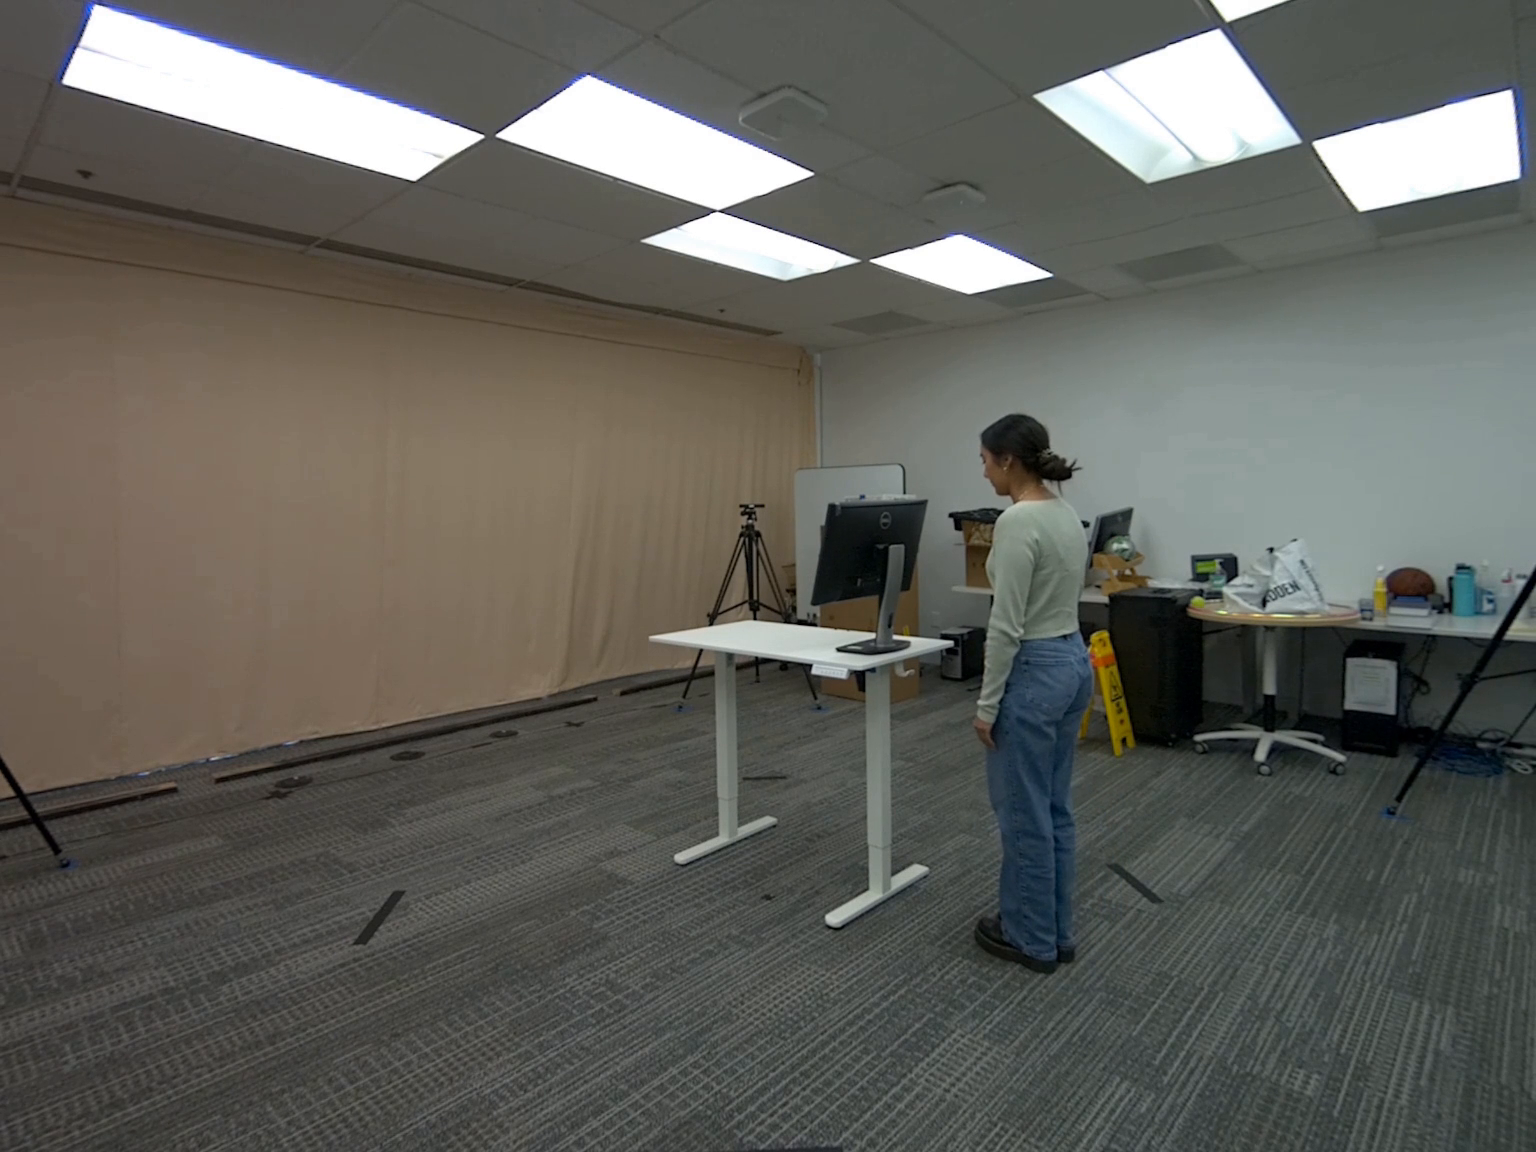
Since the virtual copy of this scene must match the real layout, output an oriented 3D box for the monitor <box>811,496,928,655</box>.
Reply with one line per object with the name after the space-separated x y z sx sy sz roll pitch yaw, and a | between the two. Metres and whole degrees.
0.398 0.002 2.914 0.193 0.521 0.523 4 7 43 | monitor
